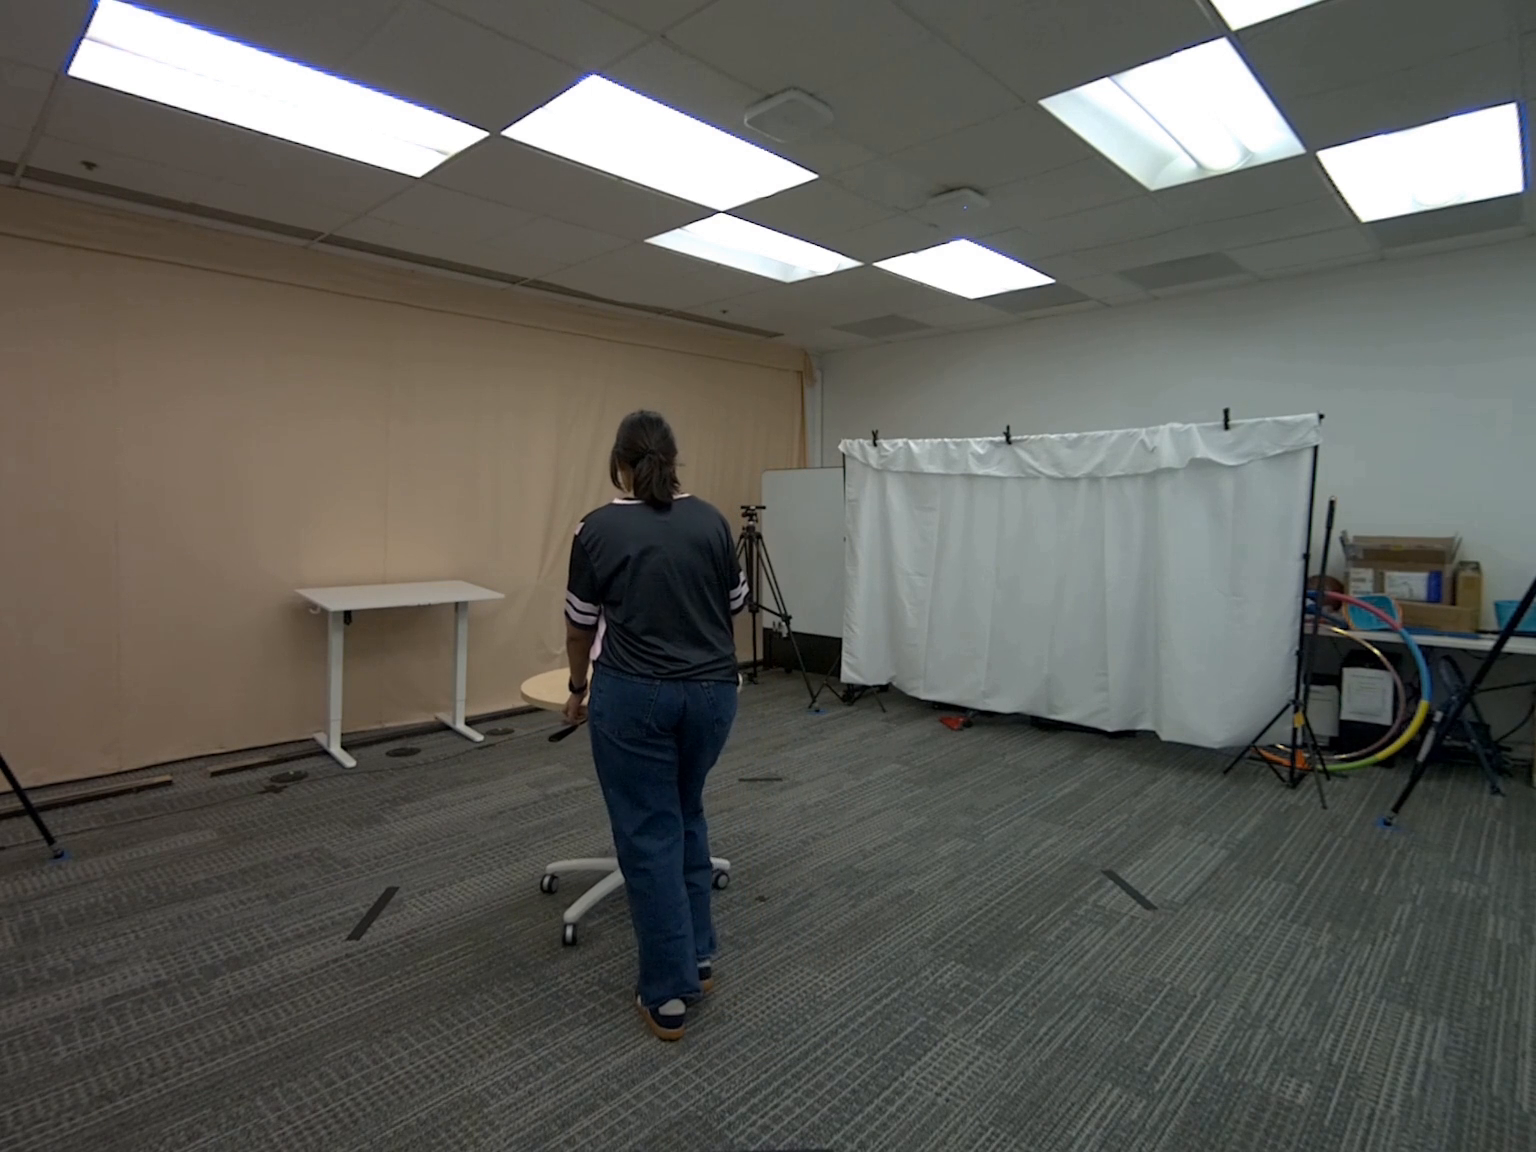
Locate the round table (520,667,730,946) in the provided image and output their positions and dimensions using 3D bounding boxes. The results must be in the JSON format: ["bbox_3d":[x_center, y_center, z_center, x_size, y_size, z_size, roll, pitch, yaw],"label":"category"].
[{"bbox_3d":[-0.465,0.762,2.960,0.763,0.792,0.766,-1,4,-2],"label":"round table"}]
